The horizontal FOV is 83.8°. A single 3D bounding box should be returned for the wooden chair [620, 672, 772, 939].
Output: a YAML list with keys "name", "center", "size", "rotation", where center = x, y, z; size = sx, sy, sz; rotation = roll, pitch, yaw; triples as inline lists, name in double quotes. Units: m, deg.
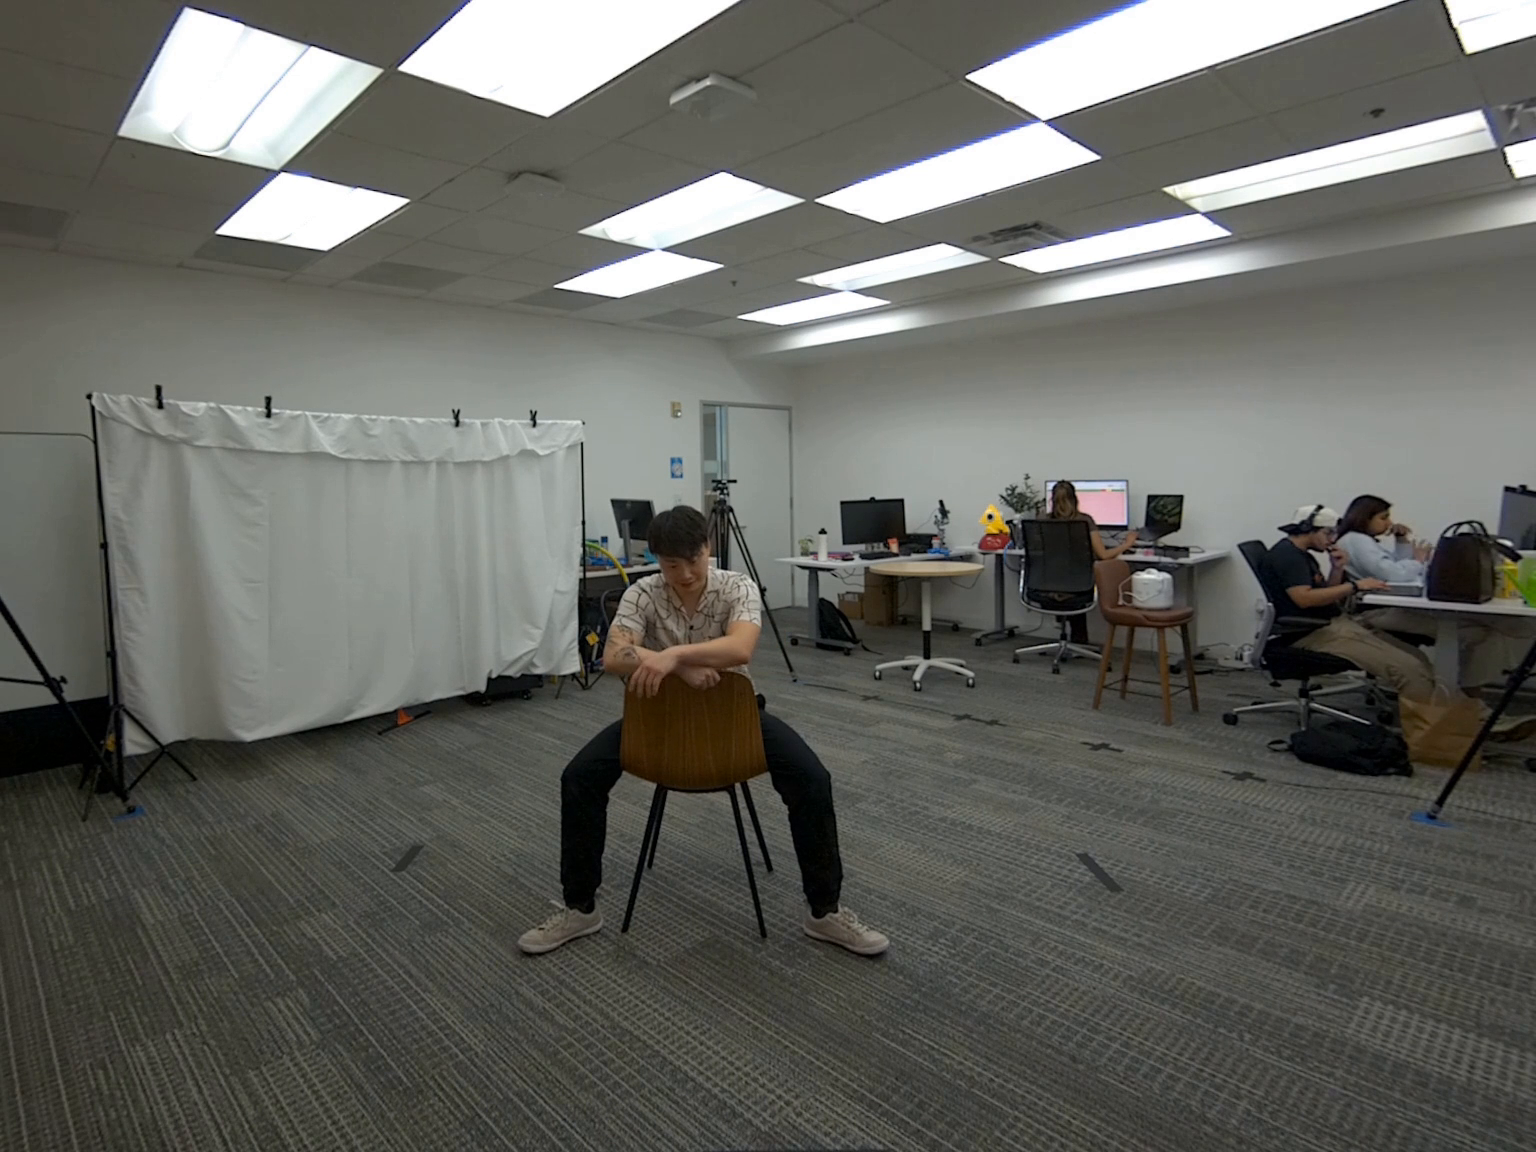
- name: "wooden chair"
  center: [-0.225, 0.667, 2.831]
  size: [0.480, 0.870, 0.525]
  rotation: [-1, 9, 4]
